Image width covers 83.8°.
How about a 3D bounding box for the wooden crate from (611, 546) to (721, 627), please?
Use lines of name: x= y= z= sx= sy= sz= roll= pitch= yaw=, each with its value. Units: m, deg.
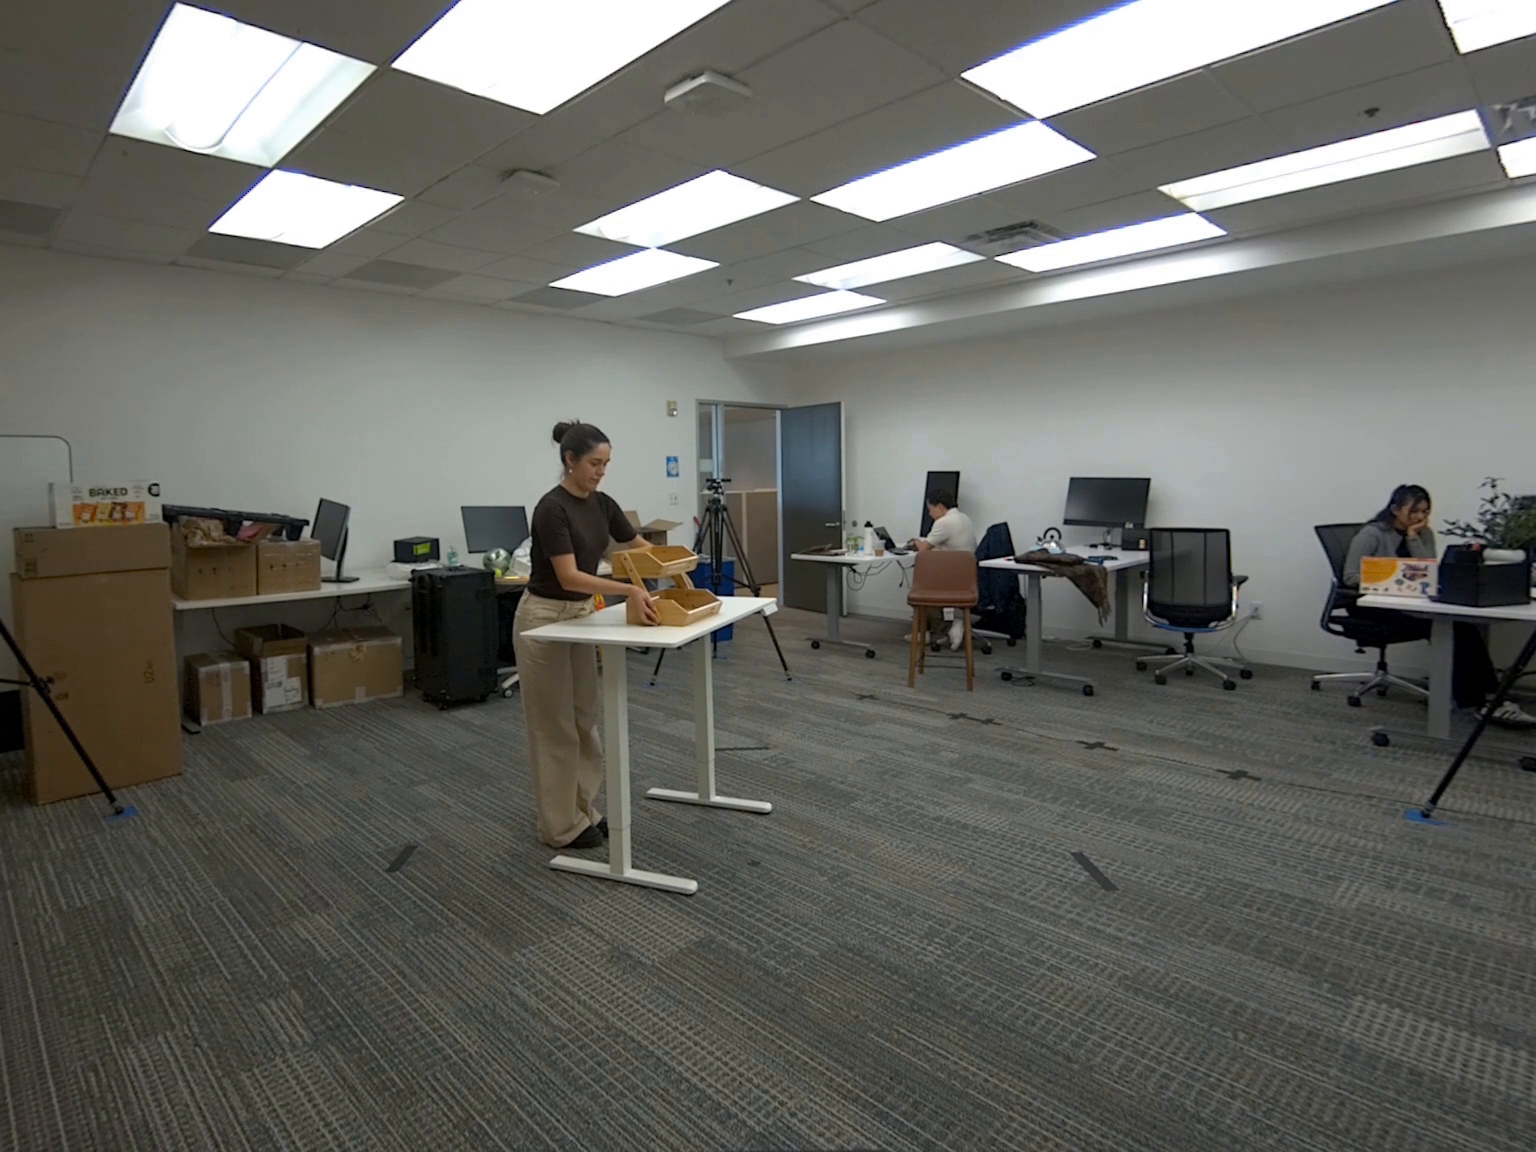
wooden crate: x=-0.373 y=0.028 z=3.183 sx=0.308 sy=0.272 sz=0.319 roll=0 pitch=5 yaw=22
